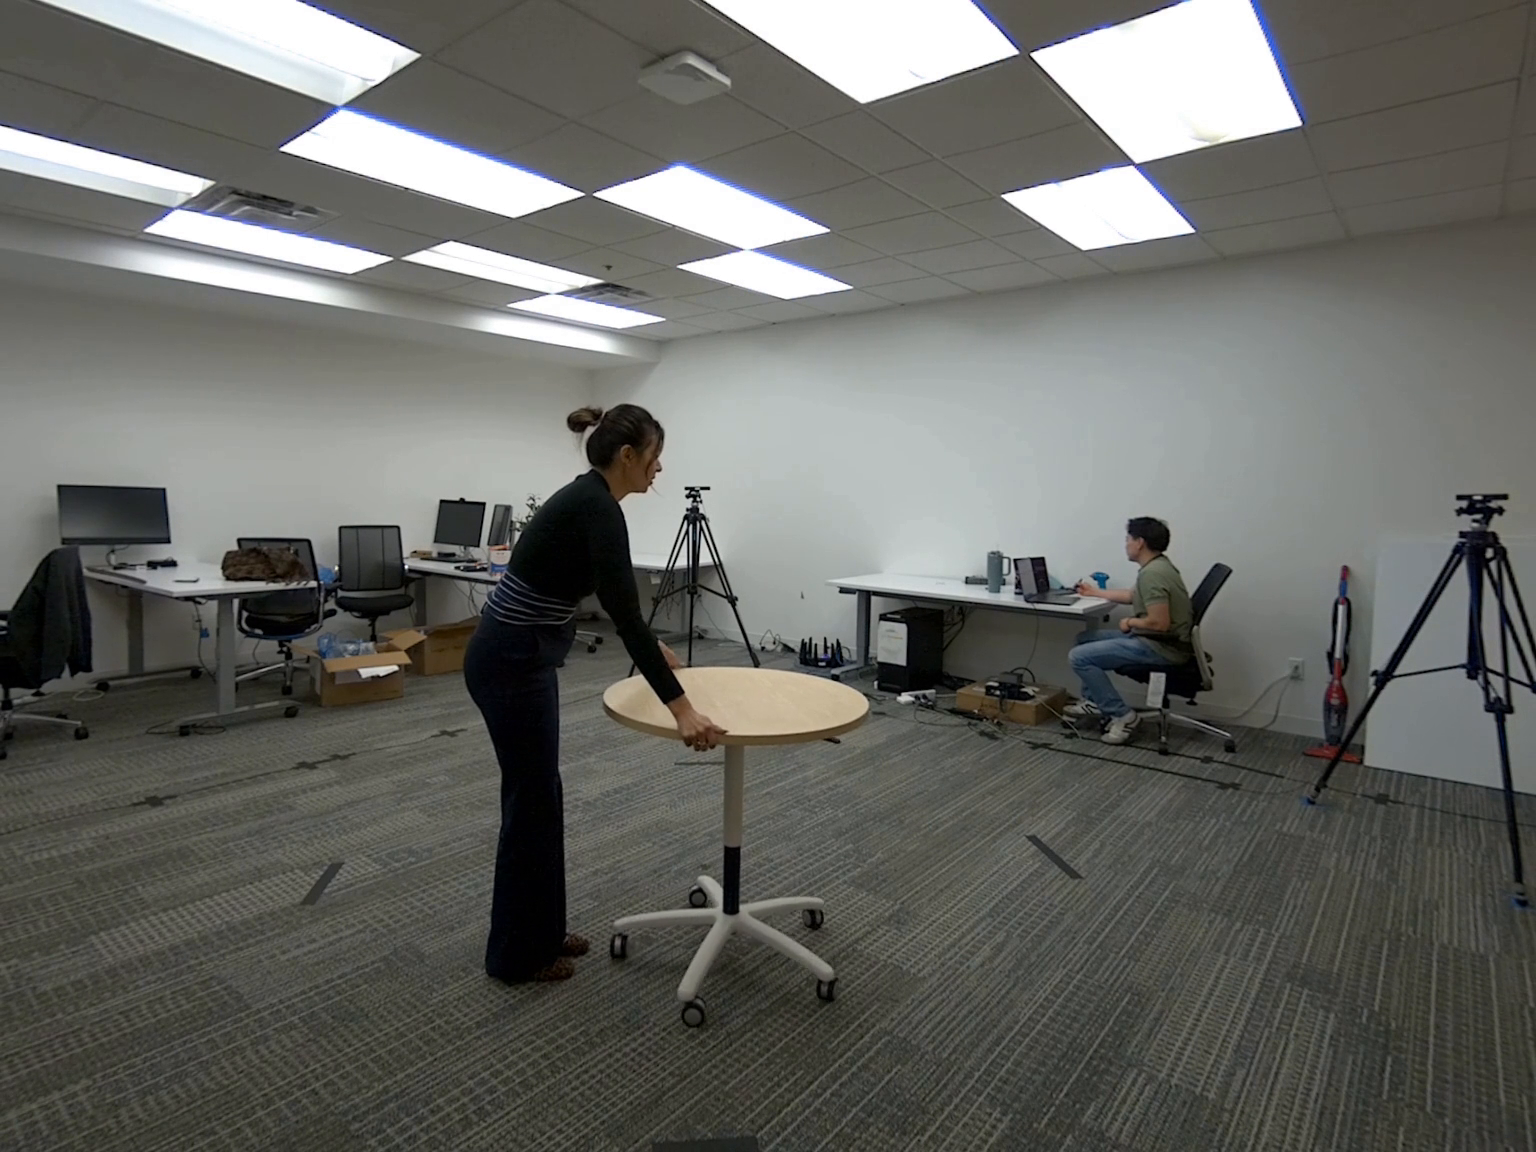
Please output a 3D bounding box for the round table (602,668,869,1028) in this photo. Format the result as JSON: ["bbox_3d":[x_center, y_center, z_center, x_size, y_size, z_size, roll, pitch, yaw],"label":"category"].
[{"bbox_3d":[-0.116,0.741,2.501,0.763,0.791,0.768,1,5,-2],"label":"round table"}]
